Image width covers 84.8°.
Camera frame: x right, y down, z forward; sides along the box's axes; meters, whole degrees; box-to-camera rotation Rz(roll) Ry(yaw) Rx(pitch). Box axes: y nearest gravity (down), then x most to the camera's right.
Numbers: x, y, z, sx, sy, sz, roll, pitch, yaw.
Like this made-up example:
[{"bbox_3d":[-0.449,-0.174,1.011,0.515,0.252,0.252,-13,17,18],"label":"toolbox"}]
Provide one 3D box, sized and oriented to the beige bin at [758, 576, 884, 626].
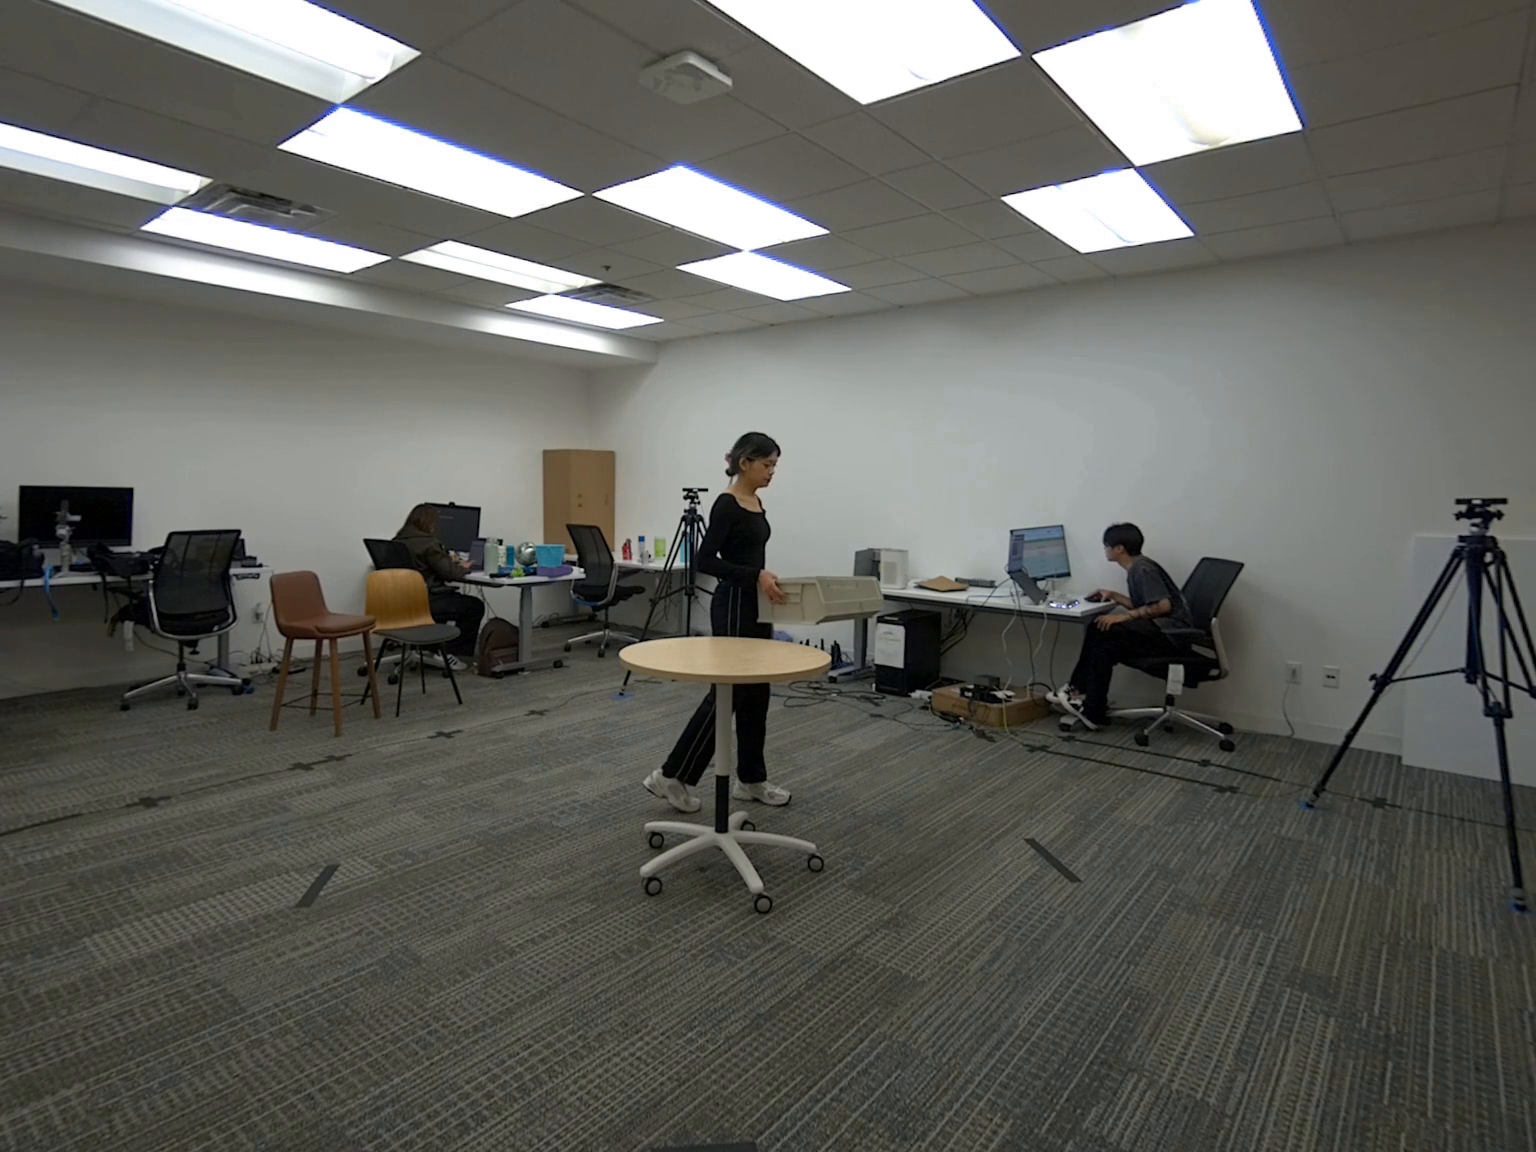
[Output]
[{"bbox_3d":[0.206,0.098,3.629,0.389,0.189,0.409,-1,2,43],"label":"beige bin"}]
